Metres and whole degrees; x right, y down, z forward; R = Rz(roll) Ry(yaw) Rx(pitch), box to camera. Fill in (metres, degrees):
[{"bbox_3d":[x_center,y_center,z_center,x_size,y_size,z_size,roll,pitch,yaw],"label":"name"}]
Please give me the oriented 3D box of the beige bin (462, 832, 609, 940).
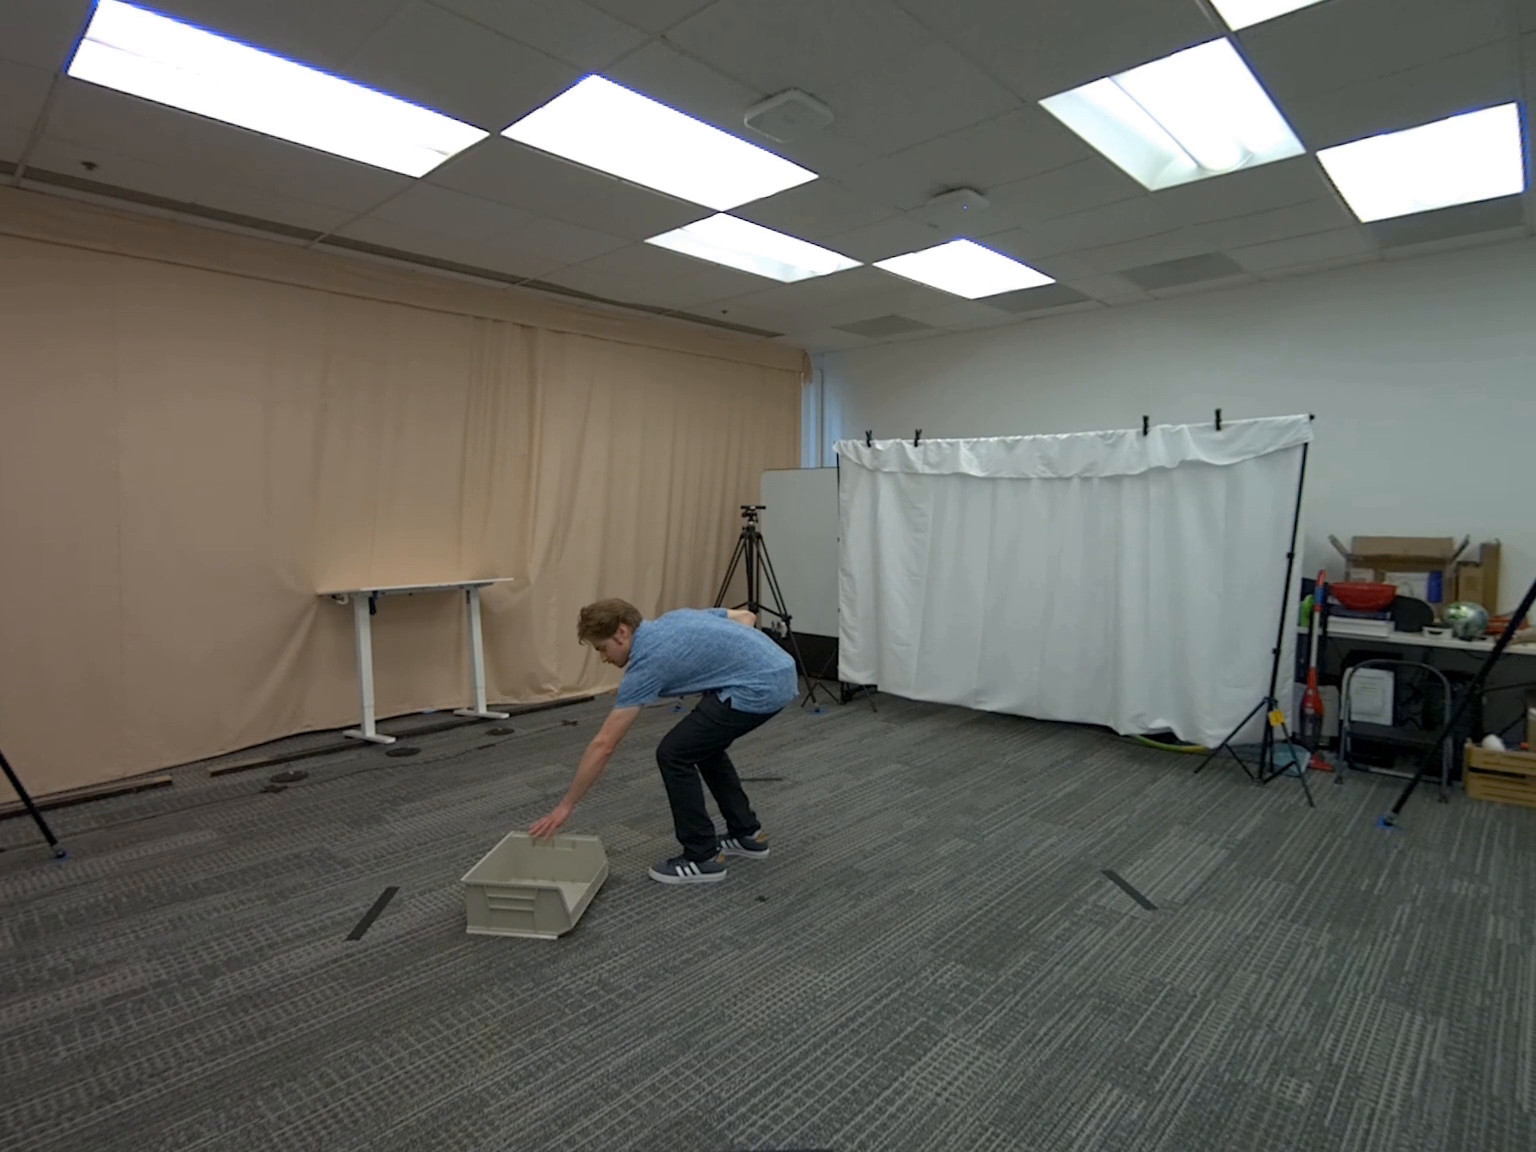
[{"bbox_3d":[-0.798,1.066,2.928,0.381,0.188,0.420,0,4,7],"label":"beige bin"}]
